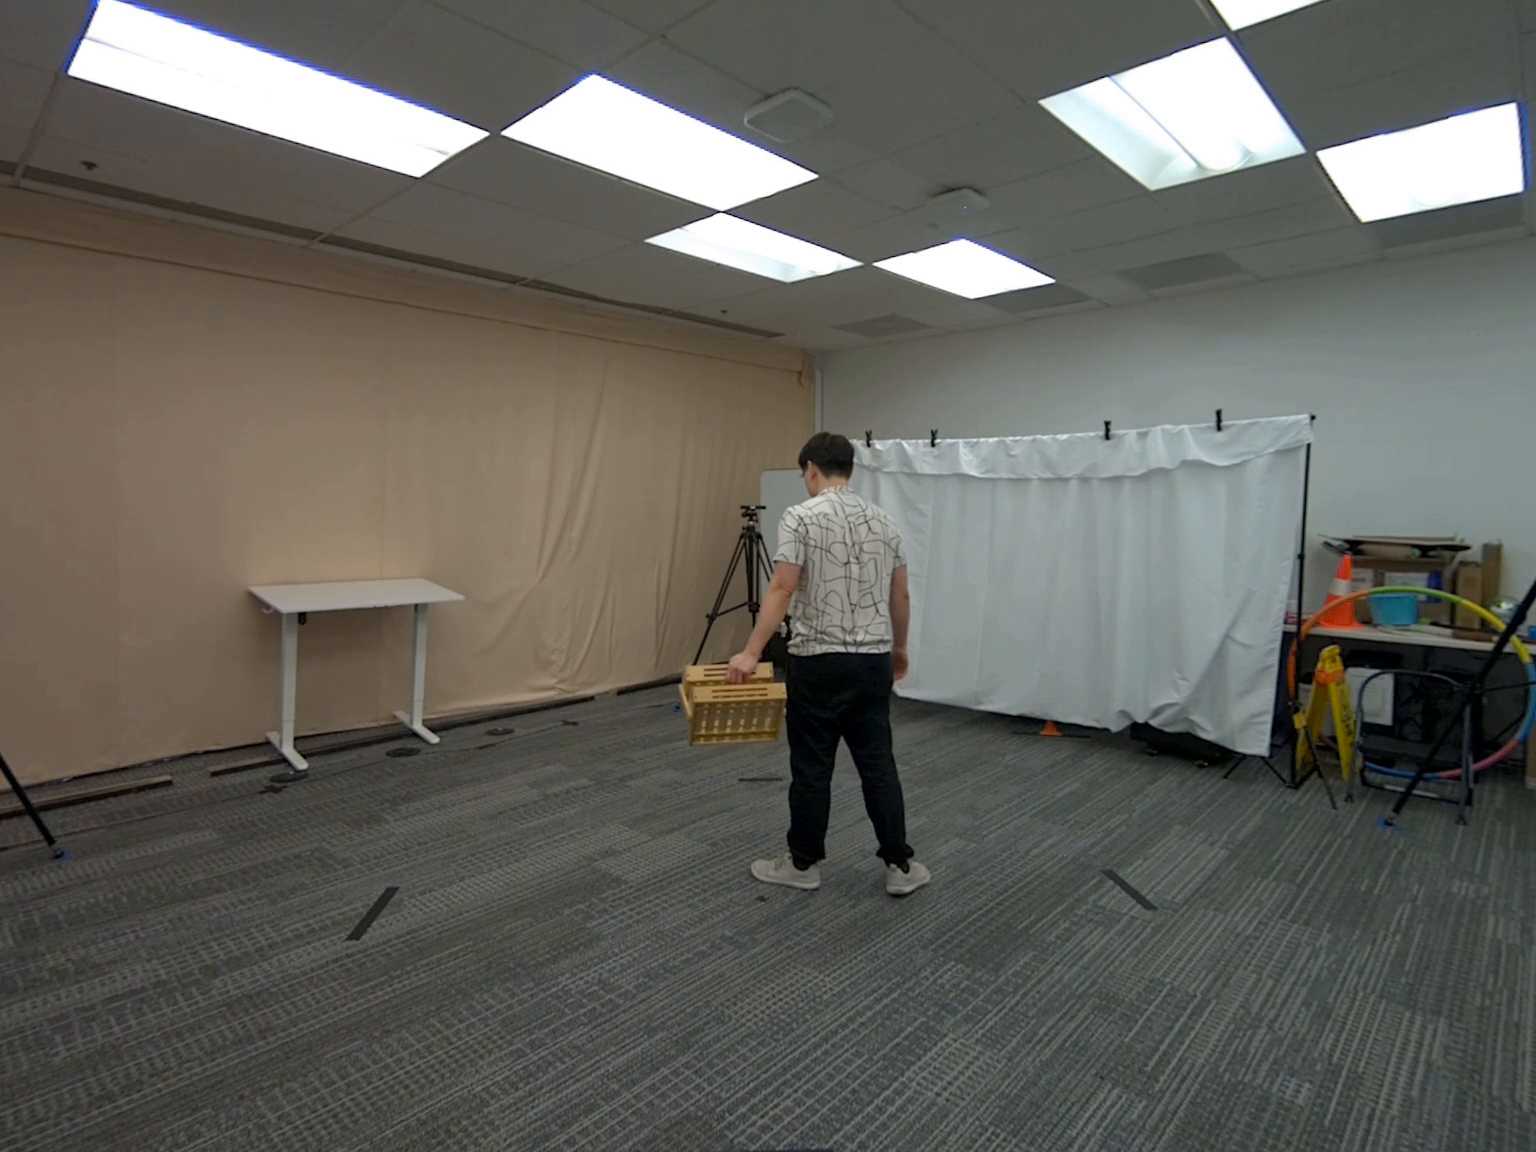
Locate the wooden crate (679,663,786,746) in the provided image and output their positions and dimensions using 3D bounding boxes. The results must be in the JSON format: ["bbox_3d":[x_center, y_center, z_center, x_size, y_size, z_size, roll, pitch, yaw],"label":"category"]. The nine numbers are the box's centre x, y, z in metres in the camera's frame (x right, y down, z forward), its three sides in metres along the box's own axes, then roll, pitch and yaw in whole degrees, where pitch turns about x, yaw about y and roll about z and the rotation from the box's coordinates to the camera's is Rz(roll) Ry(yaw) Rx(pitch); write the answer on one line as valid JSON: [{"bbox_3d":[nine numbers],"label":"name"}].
[{"bbox_3d":[-0.130,0.404,2.857,0.321,0.298,0.280,-1,42,-11],"label":"wooden crate"}]
